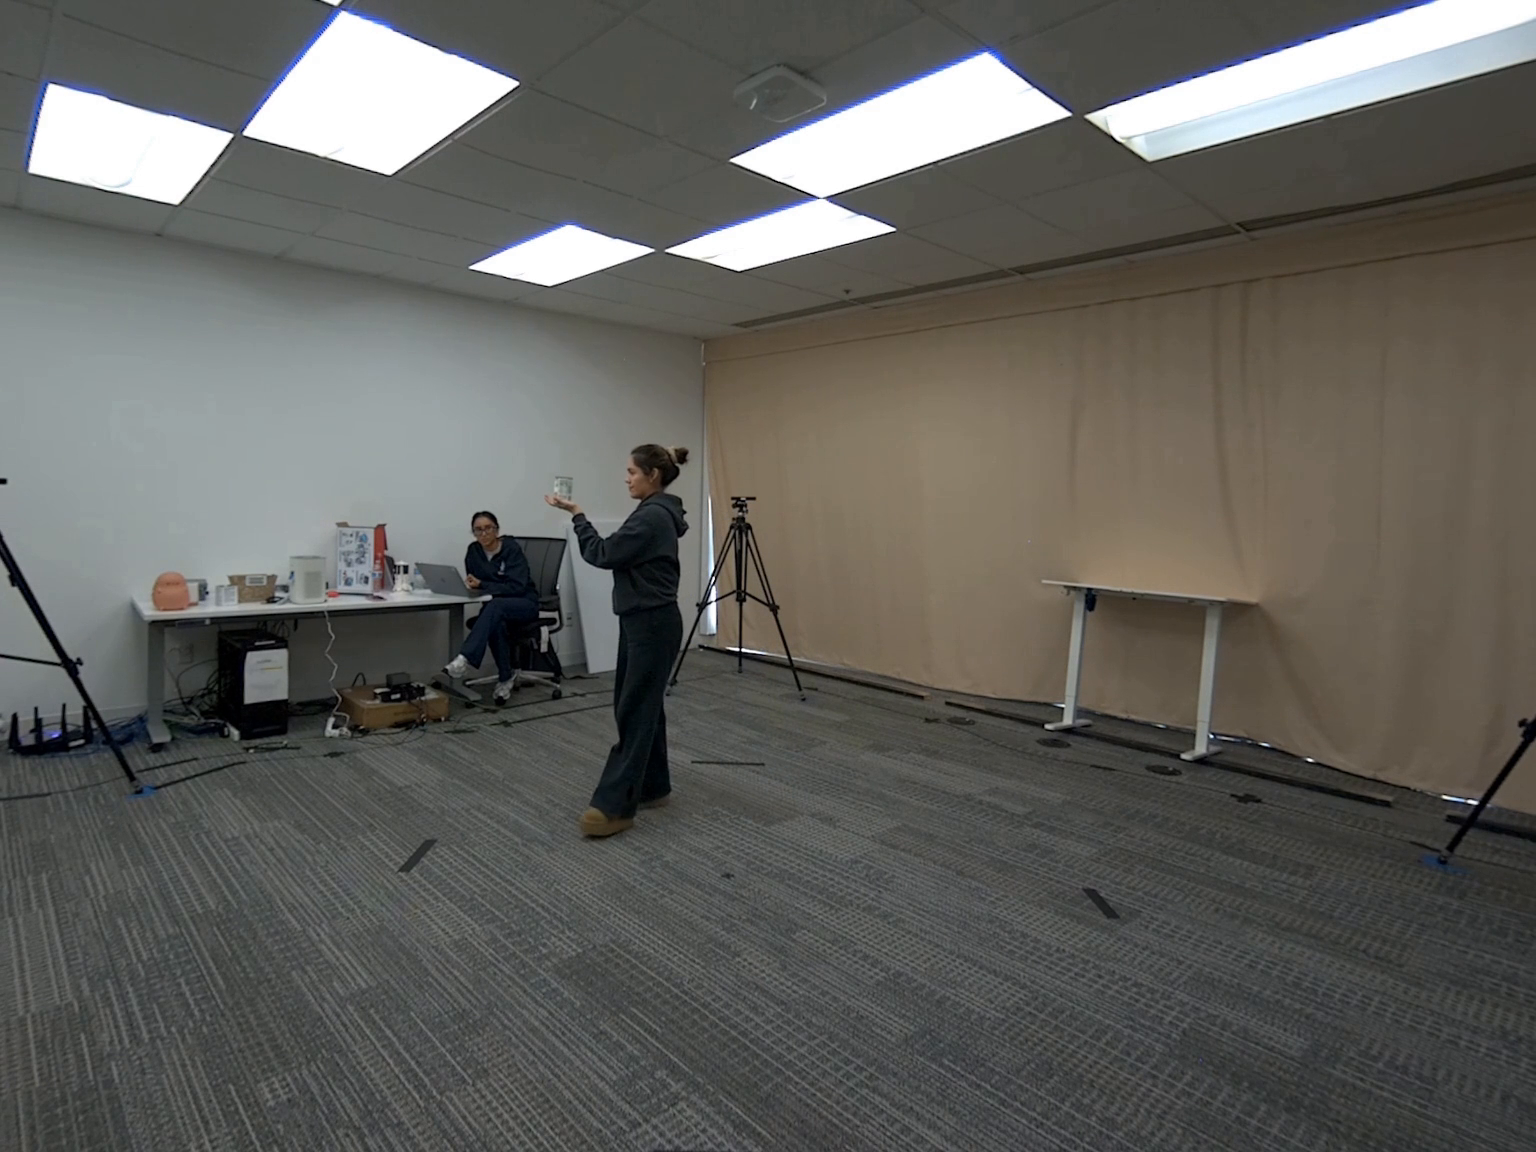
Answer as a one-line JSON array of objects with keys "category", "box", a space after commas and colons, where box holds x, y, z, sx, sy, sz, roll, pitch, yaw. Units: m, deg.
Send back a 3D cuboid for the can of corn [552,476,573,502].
[{"category": "can of corn", "box": [-0.883, -0.367, 3.573, 0.074, 0.111, 0.074, 4, 2, -2]}]
